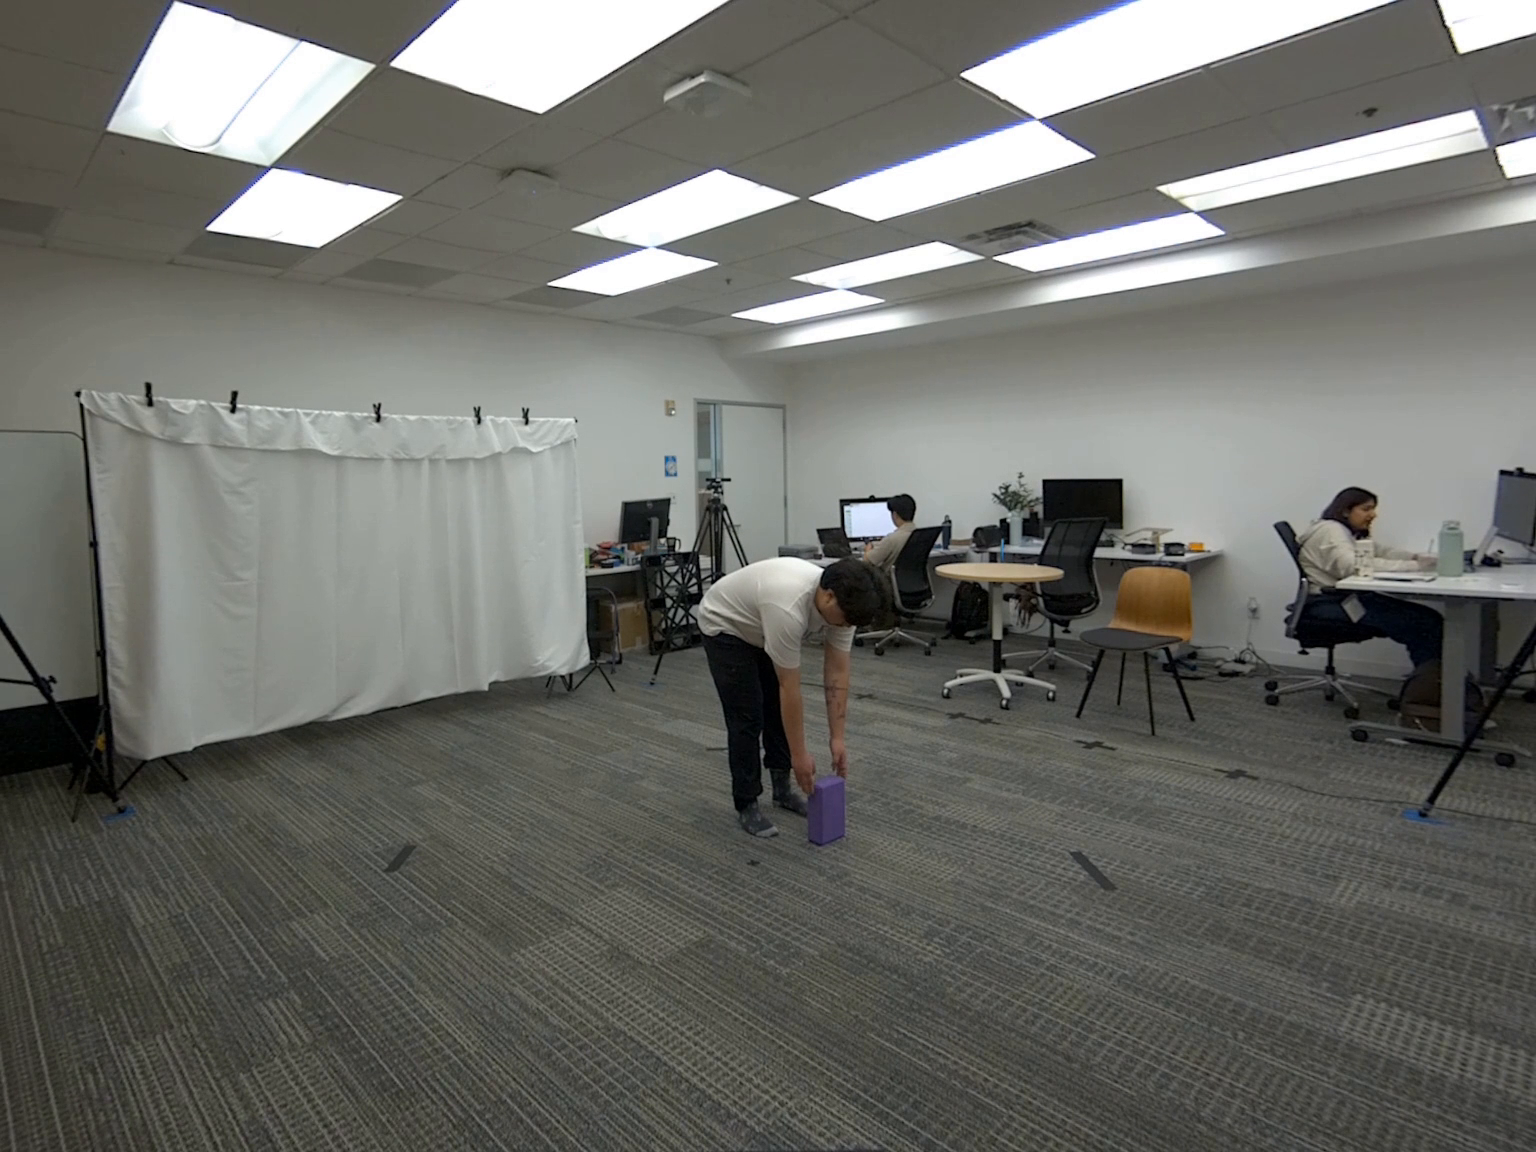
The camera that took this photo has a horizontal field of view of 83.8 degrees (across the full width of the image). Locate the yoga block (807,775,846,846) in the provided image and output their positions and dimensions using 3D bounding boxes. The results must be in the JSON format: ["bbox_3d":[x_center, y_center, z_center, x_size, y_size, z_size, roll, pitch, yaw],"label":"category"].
[{"bbox_3d":[0.229,0.902,3.303,0.145,0.229,0.079,-3,3,-44],"label":"yoga block"}]
